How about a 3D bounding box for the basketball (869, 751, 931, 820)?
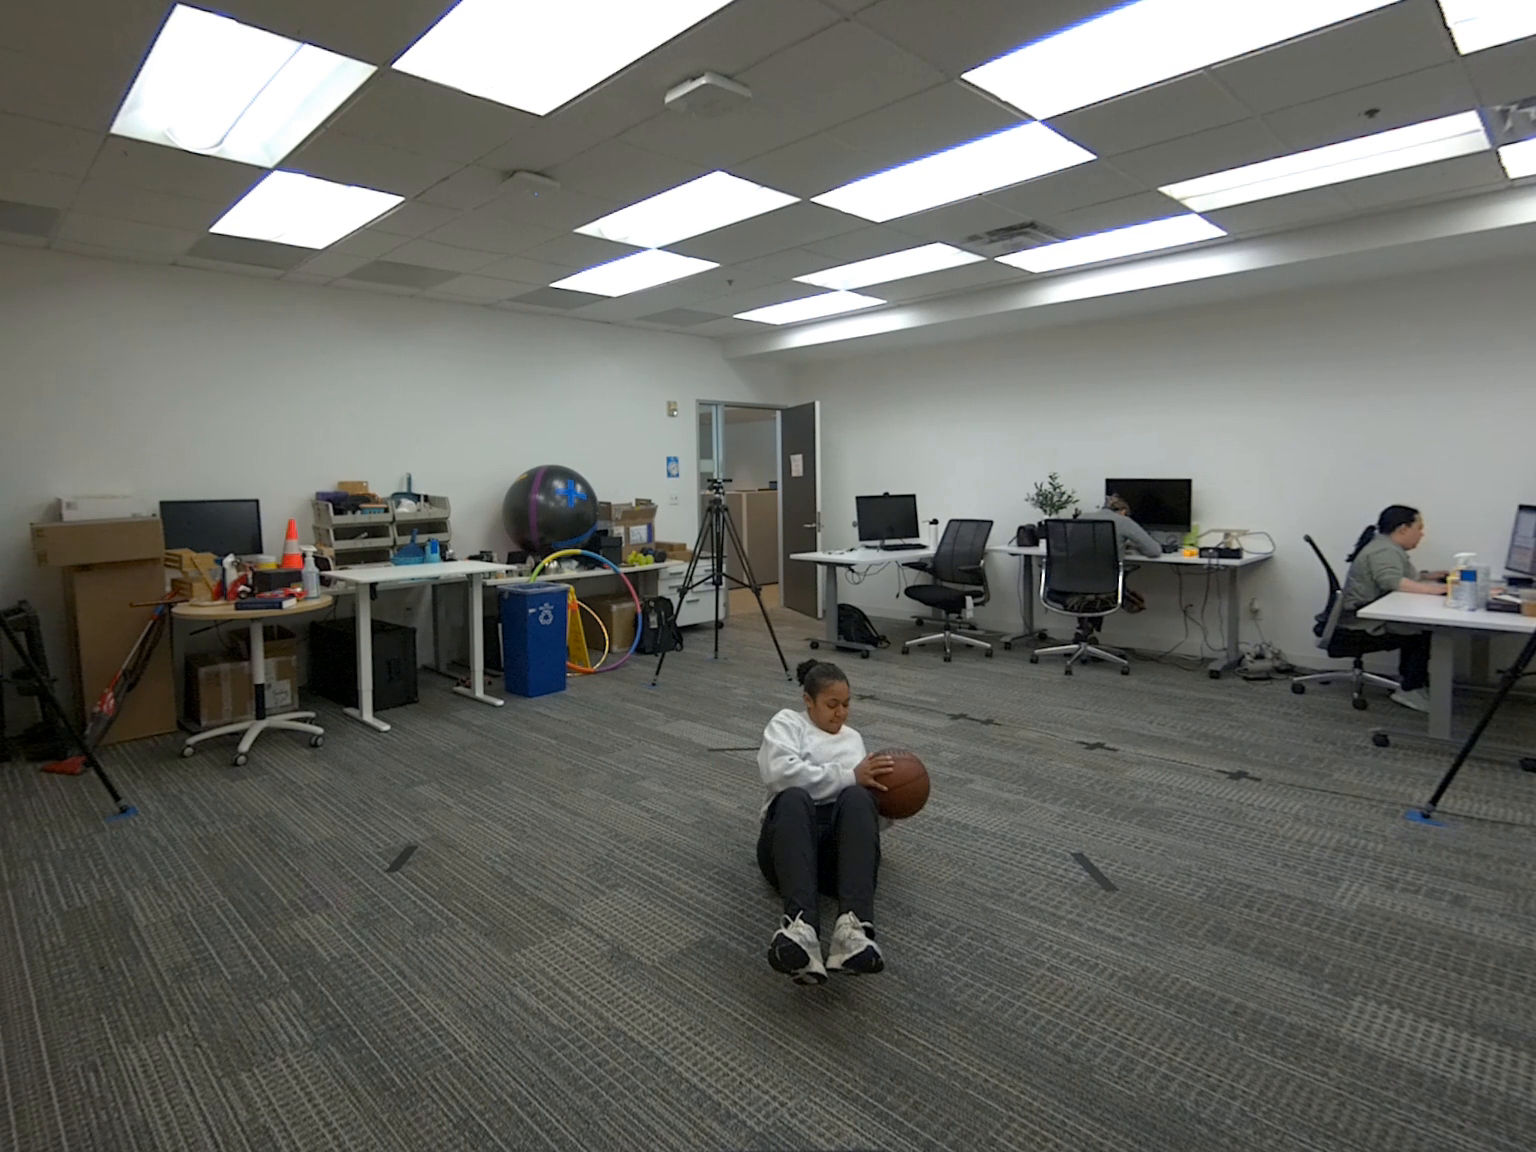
[{"bbox_3d":[0.428,0.717,2.977,0.236,0.235,0.237,-1,5,-2],"label":"basketball"}]
